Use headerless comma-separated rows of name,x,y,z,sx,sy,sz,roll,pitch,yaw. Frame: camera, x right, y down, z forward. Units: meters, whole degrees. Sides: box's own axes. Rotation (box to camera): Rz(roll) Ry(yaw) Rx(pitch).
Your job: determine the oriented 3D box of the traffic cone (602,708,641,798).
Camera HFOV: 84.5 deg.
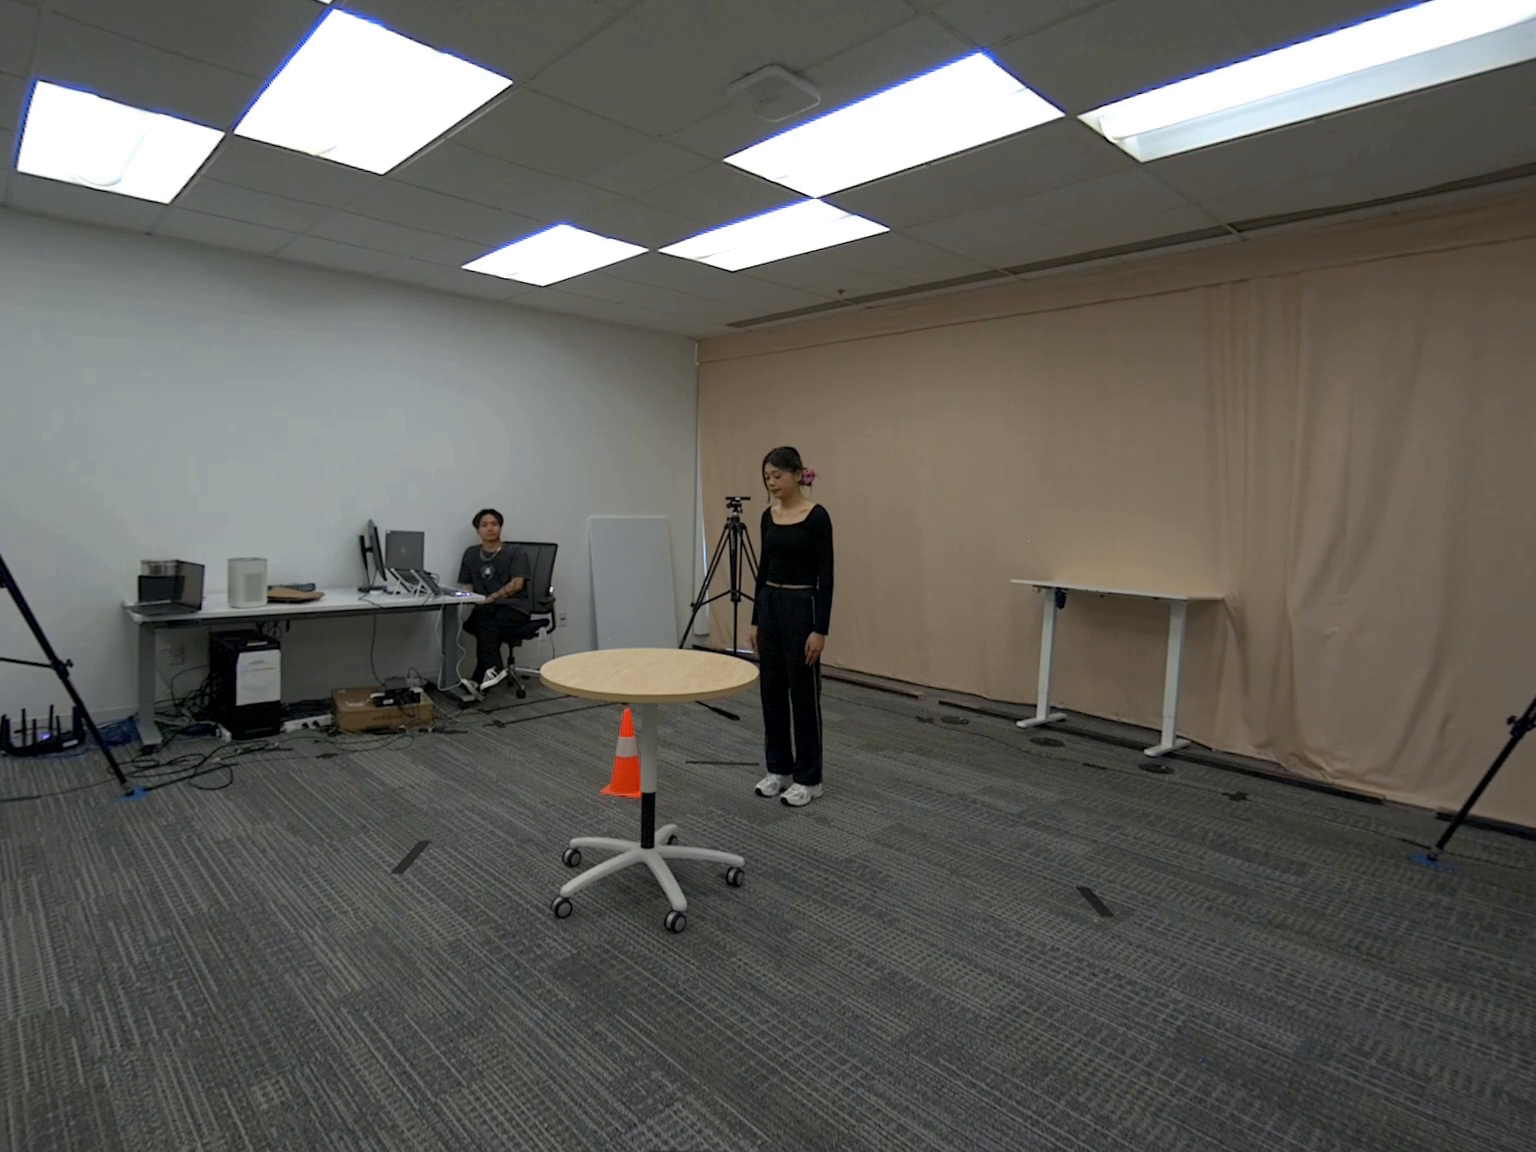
traffic cone,-0.682,0.828,4.013,0.205,0.383,0.203,3,4,10
